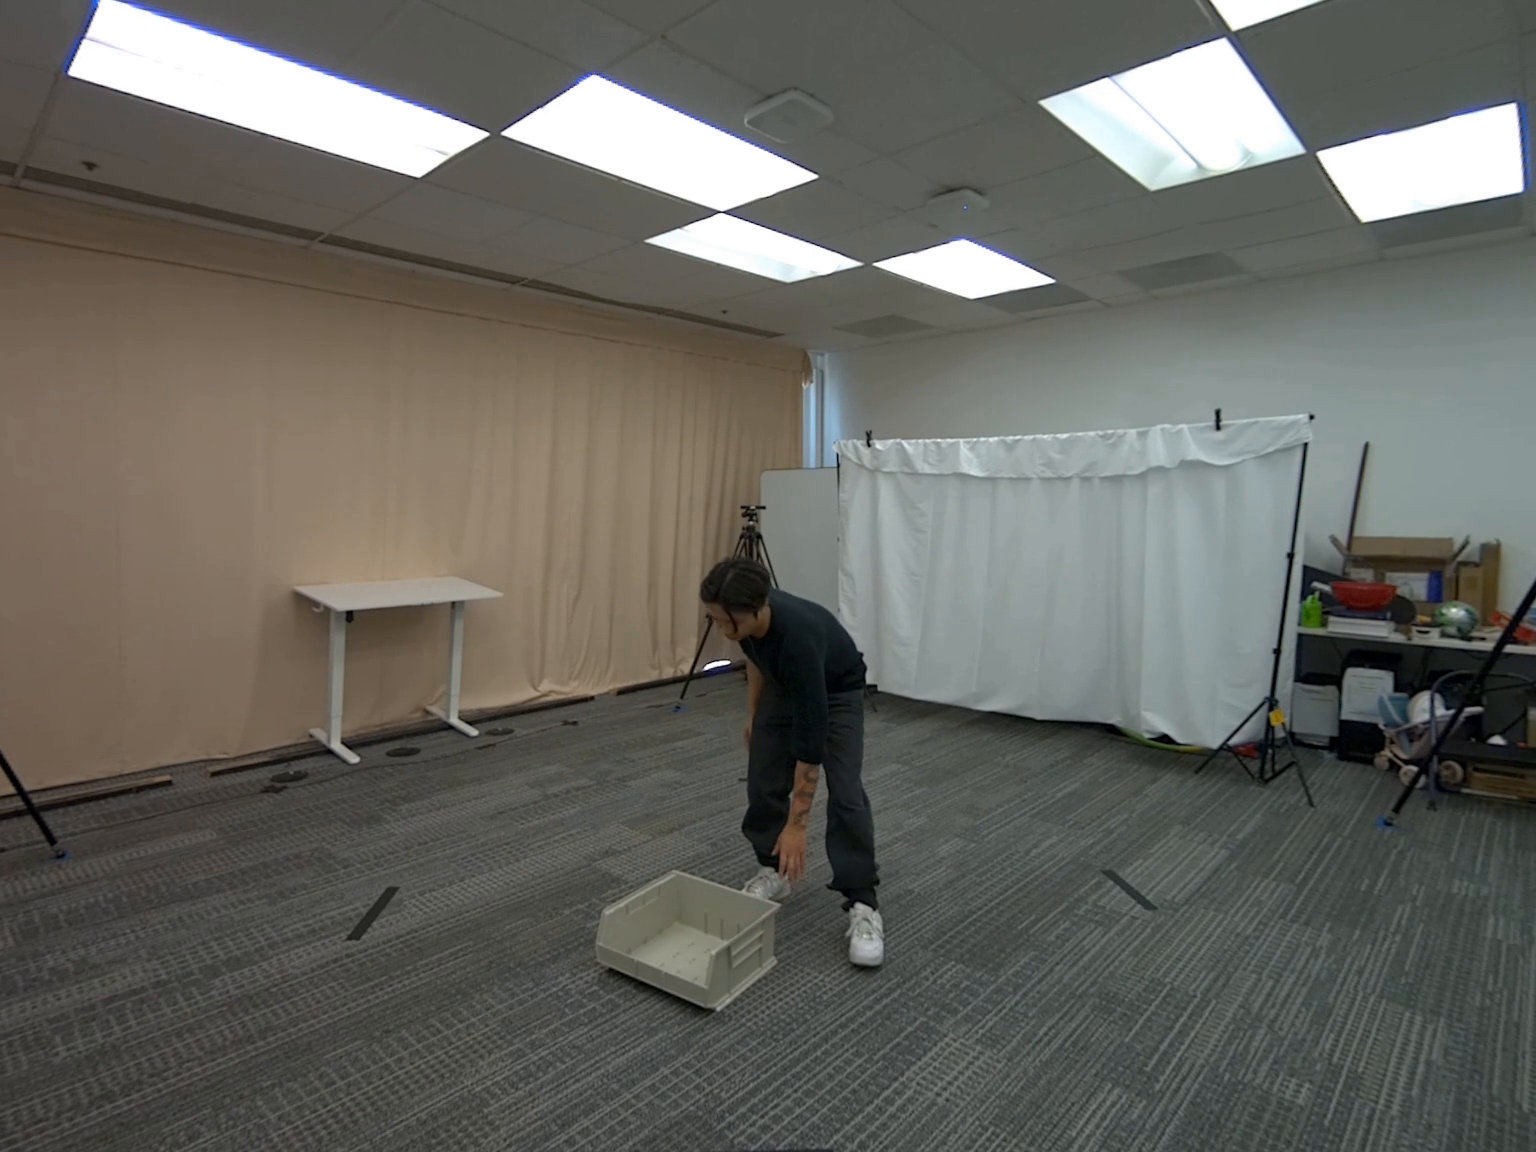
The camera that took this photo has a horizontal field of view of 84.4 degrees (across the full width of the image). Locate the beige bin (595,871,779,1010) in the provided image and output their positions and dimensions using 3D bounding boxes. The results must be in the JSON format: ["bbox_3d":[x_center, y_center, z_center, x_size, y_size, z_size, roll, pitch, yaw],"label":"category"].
[{"bbox_3d":[-0.239,1.095,2.537,0.435,0.188,0.366,3,4,34],"label":"beige bin"}]
